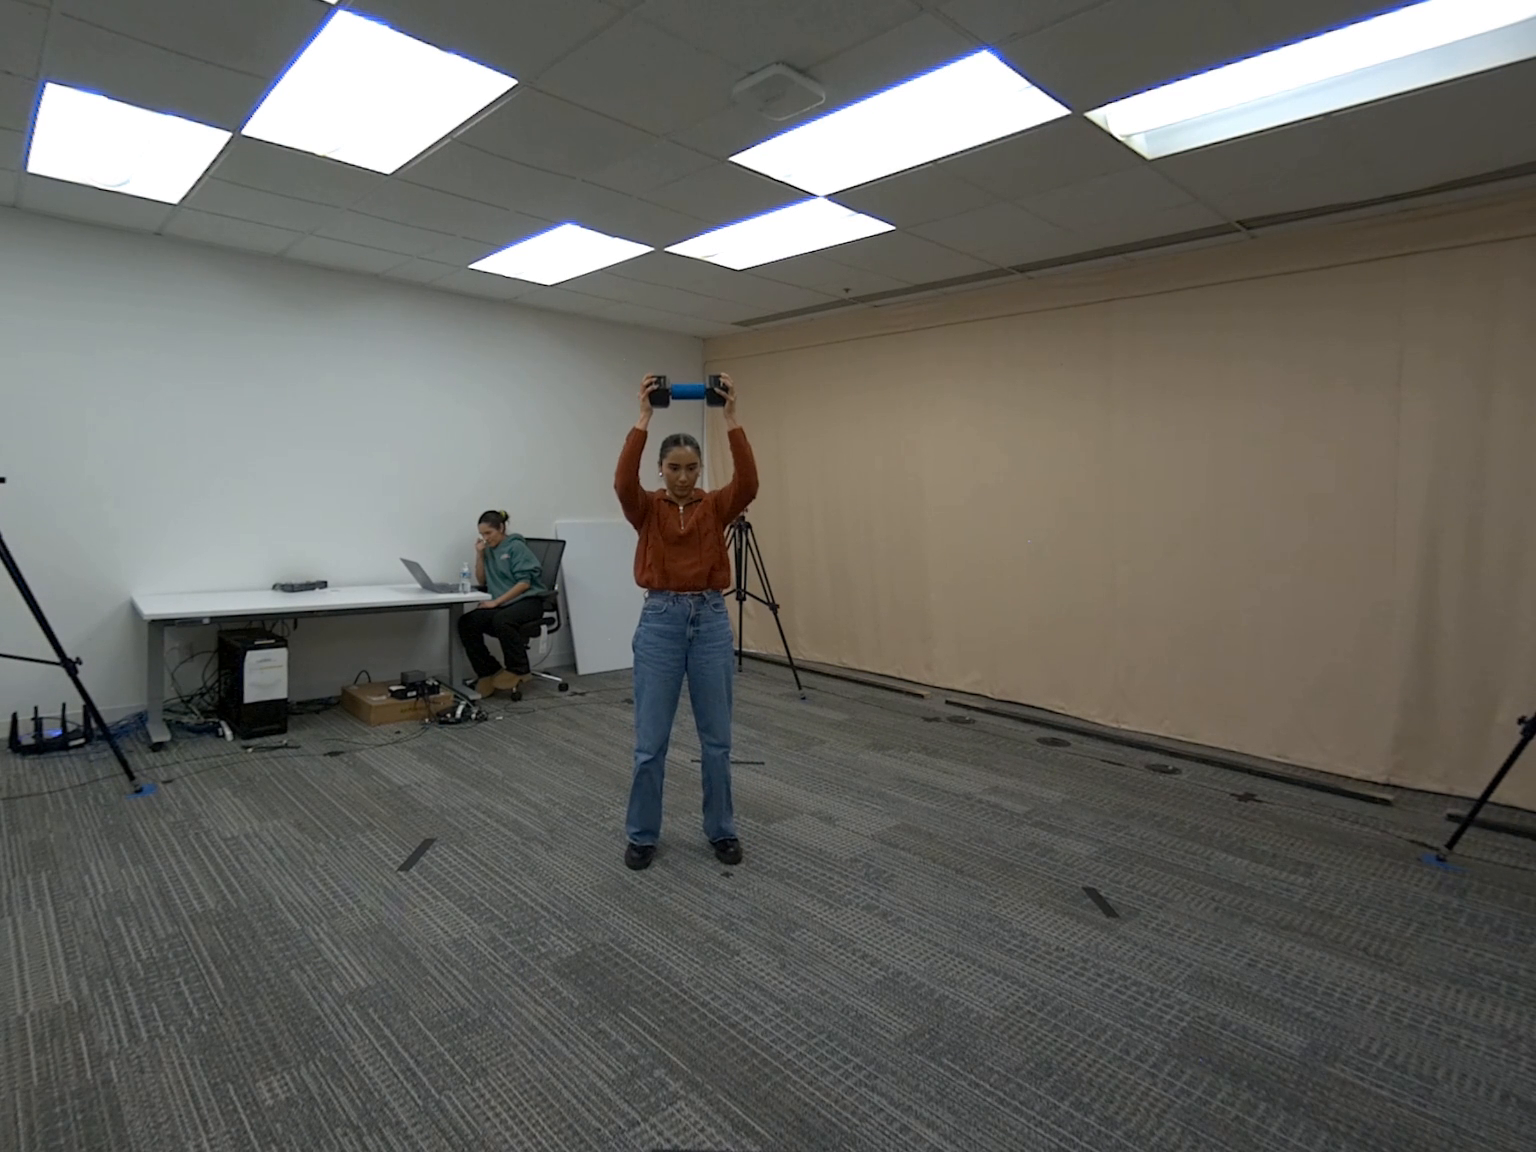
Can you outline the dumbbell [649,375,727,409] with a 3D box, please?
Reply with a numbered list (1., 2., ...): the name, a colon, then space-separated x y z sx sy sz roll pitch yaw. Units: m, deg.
1. dumbbell: -0.296 -0.658 3.034 0.293 0.125 0.106 -1 -31 -2
